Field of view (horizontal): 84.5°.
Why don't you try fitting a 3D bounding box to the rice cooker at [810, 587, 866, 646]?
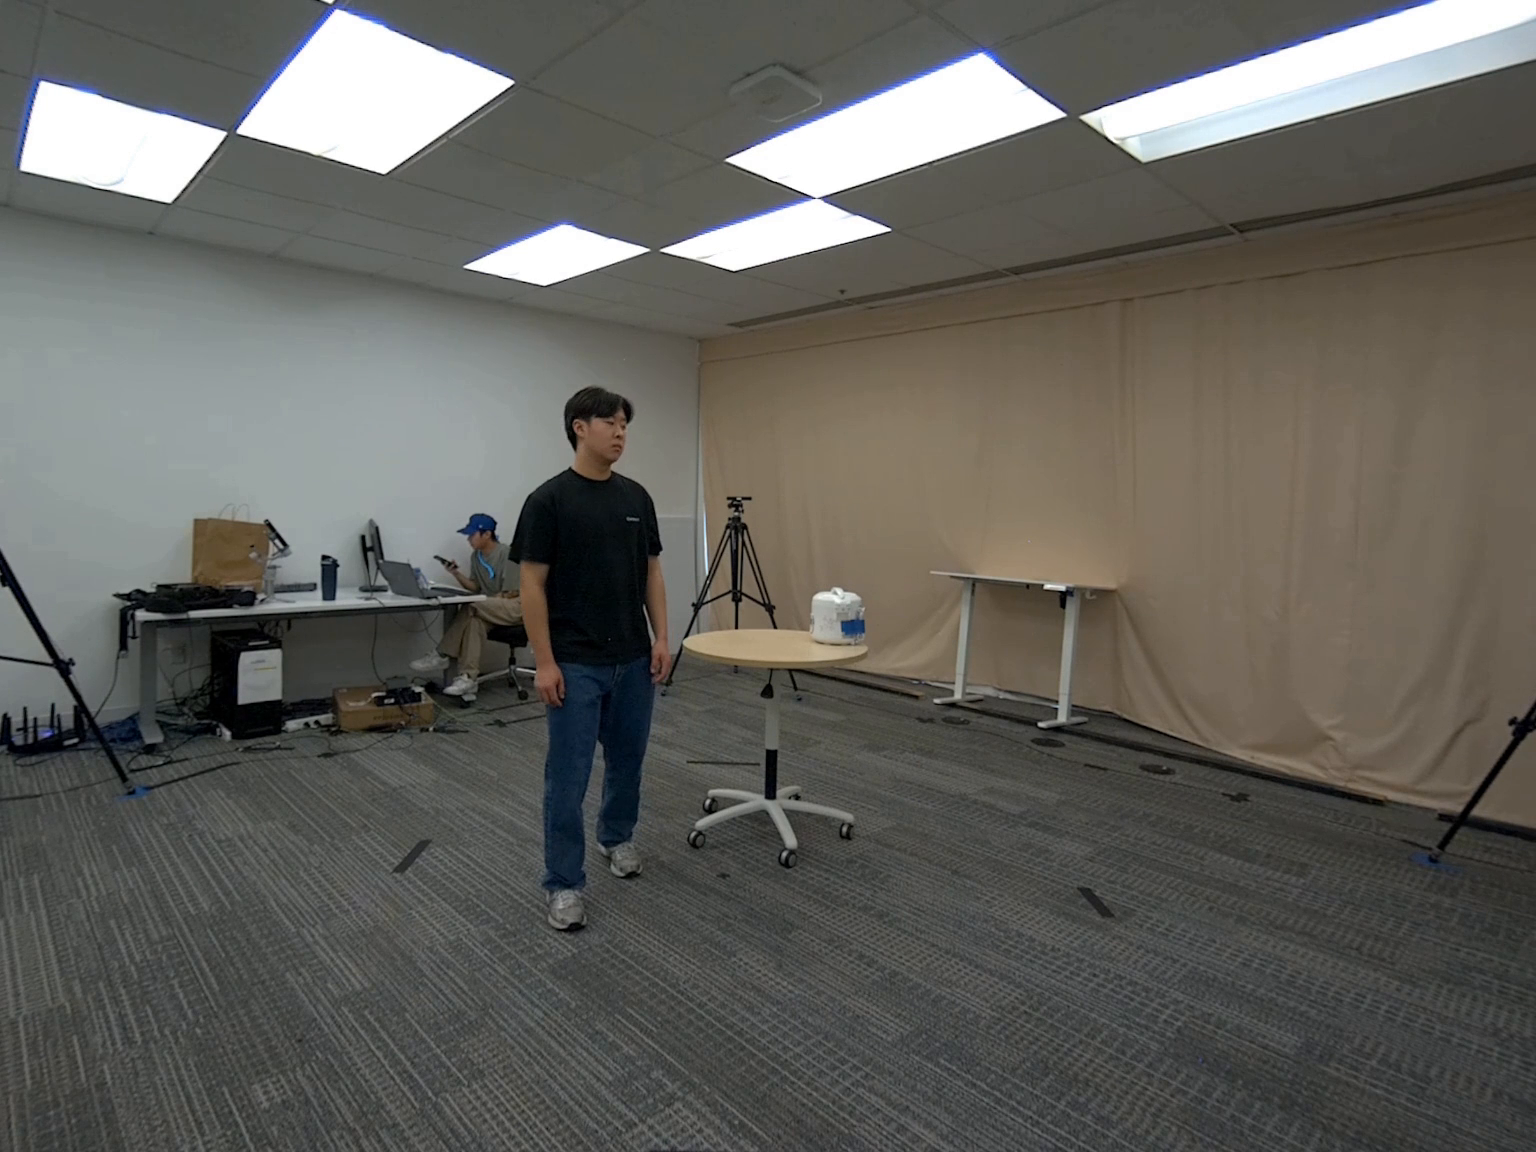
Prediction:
[{"bbox_3d":[0.289,0.167,3.574,0.216,0.232,0.222,3,3,-7],"label":"rice cooker"}]
